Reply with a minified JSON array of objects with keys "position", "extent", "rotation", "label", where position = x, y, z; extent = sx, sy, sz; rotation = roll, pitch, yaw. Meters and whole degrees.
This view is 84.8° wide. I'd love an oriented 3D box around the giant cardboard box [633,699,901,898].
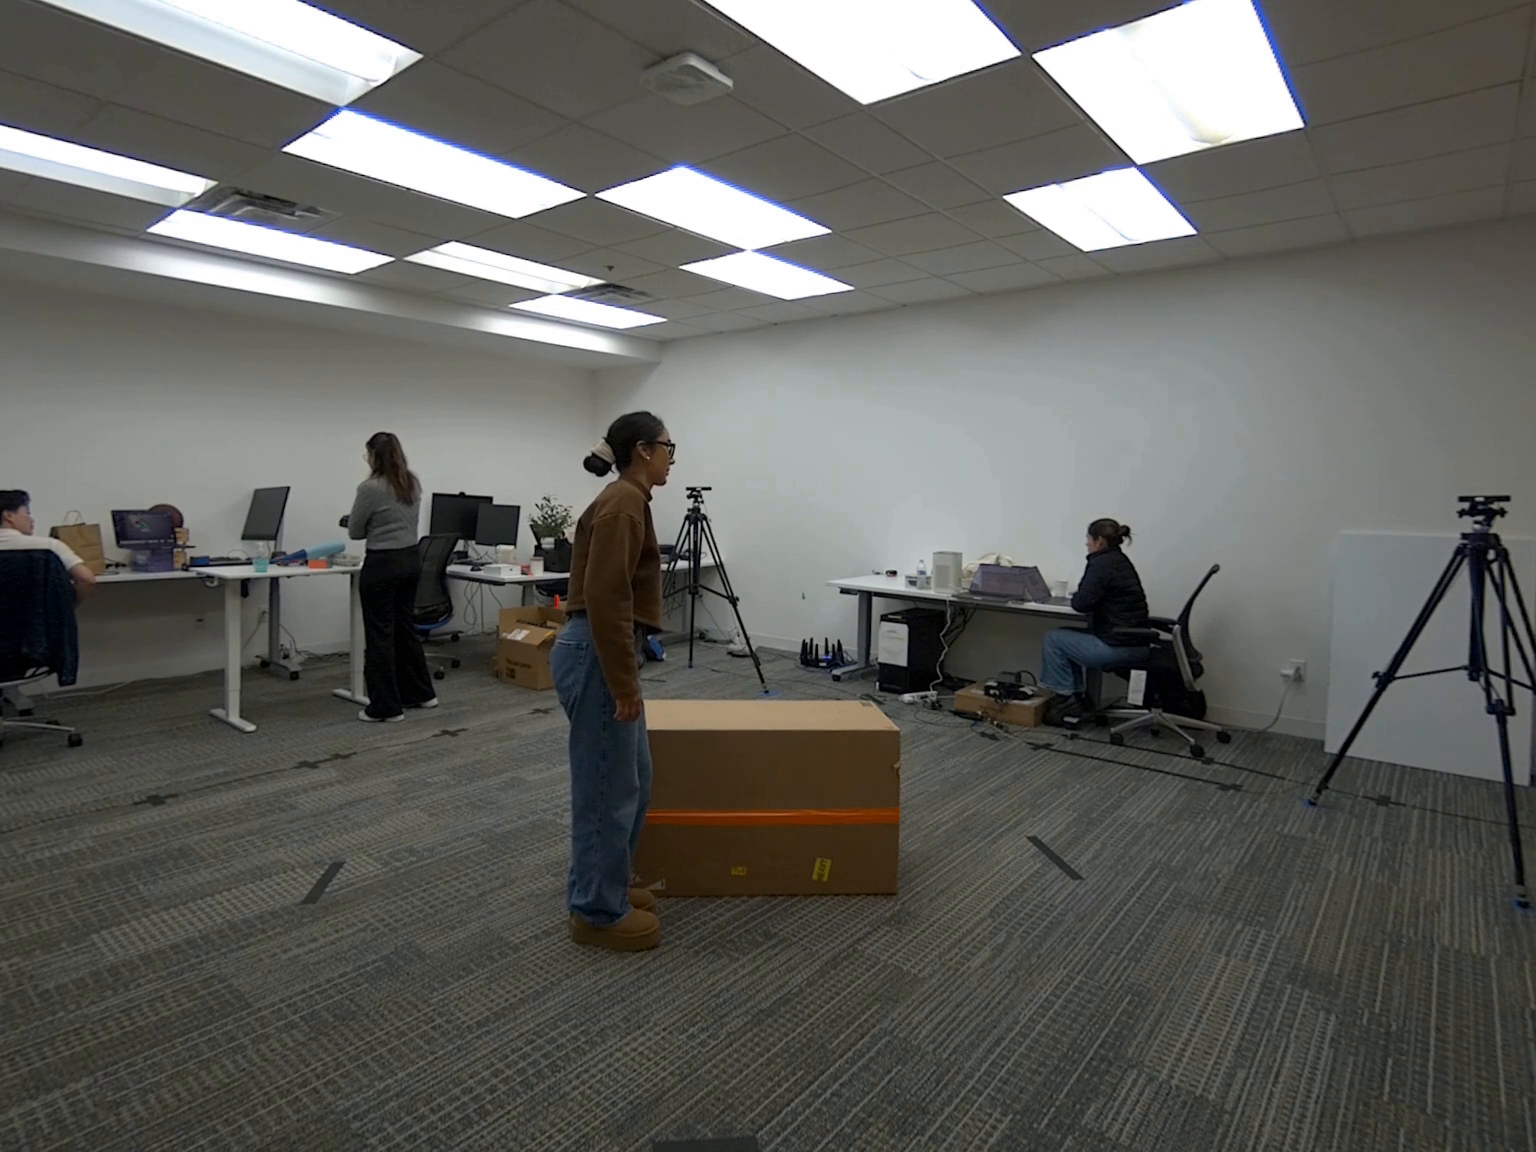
[{"position":[-0.080,0.784,3.092],"extent":[1.023,0.583,0.449],"rotation":[0,3,-4],"label":"giant cardboard box"}]
